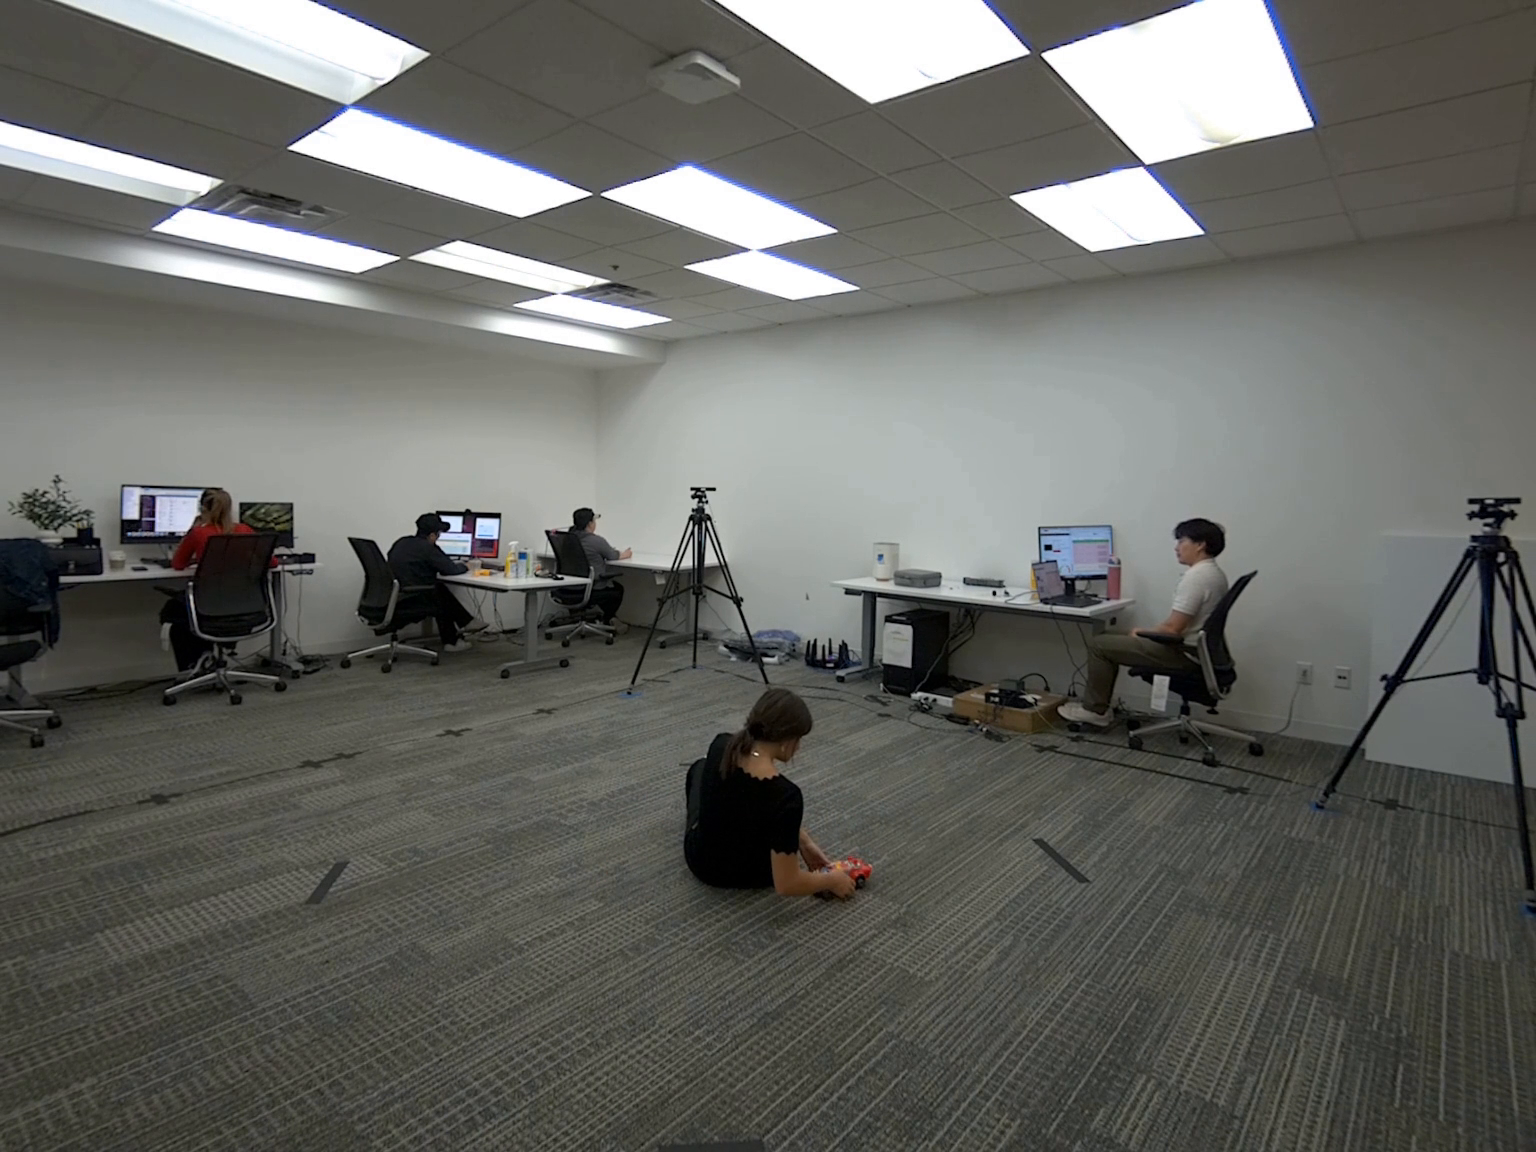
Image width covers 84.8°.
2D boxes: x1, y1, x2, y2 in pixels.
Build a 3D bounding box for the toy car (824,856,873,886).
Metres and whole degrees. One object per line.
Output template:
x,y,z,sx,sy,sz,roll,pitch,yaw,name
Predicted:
0.249,1.057,2.999,0.249,0.082,0.134,-17,15,-30,toy car
